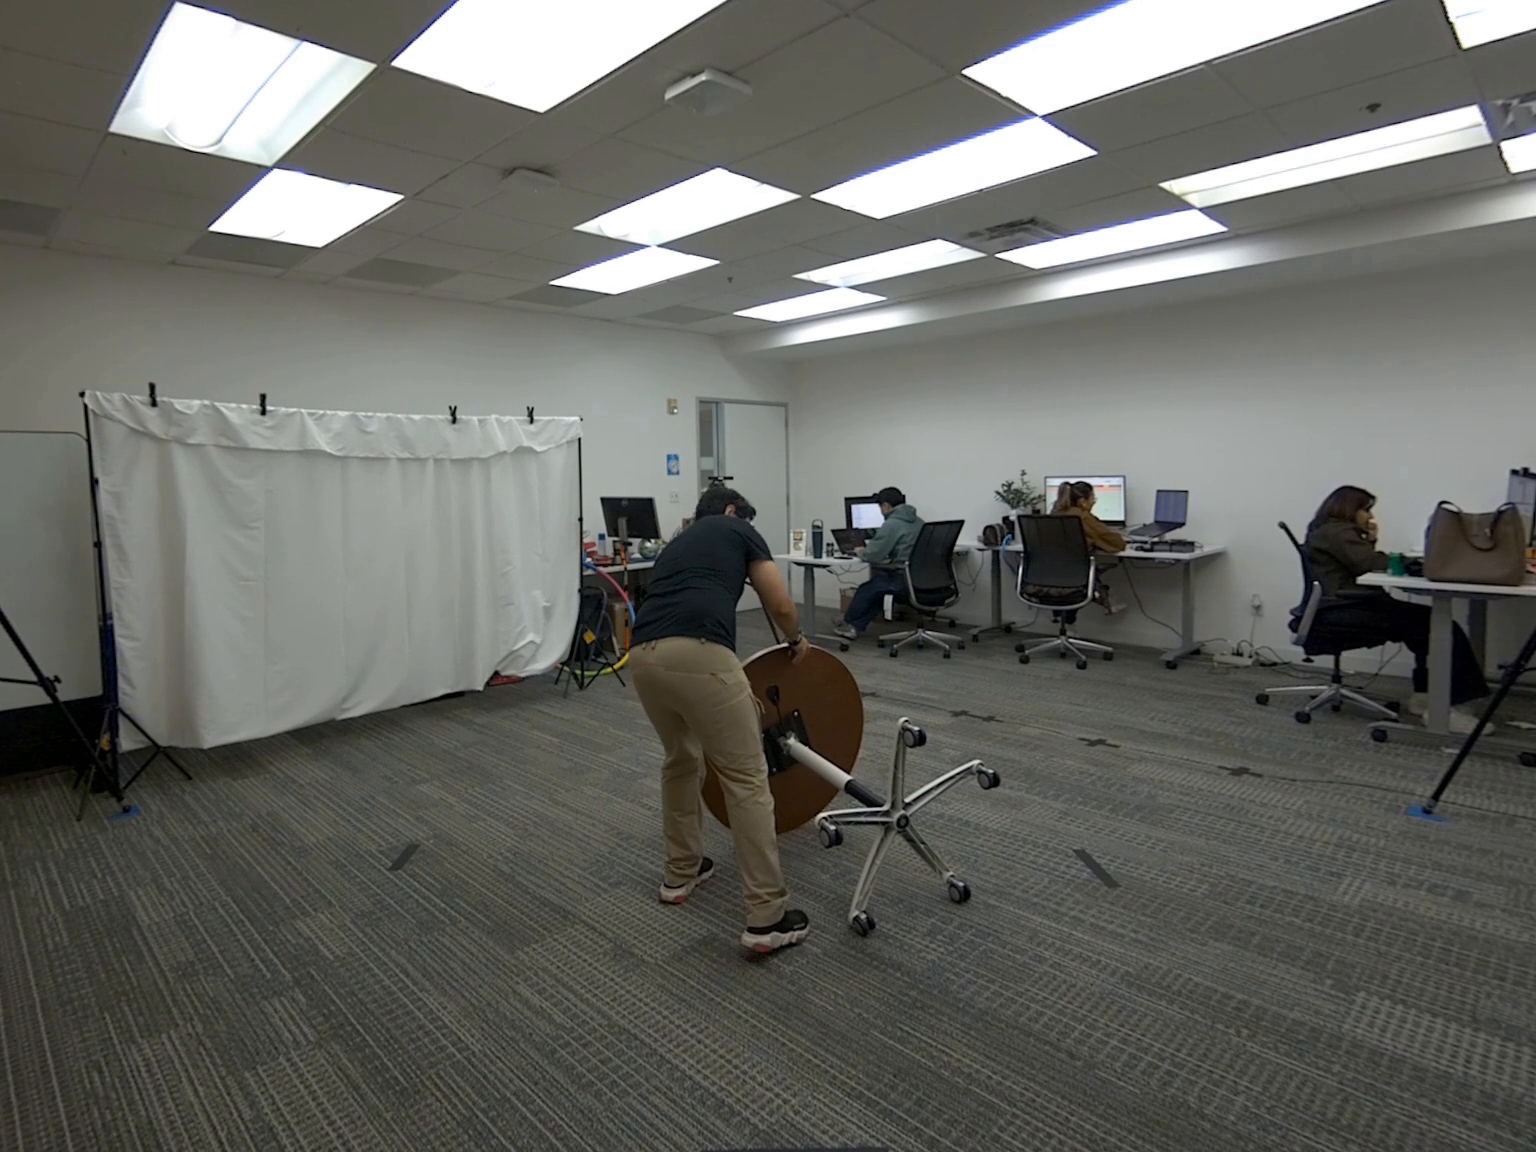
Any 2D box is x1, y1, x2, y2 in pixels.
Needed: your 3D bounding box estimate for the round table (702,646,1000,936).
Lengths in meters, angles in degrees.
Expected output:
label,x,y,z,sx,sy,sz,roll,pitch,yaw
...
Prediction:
label,x,y,z,sx,sy,sz,roll,pitch,yaw
round table,0.267,0.714,2.961,0.767,0.778,0.813,-4,13,-31
